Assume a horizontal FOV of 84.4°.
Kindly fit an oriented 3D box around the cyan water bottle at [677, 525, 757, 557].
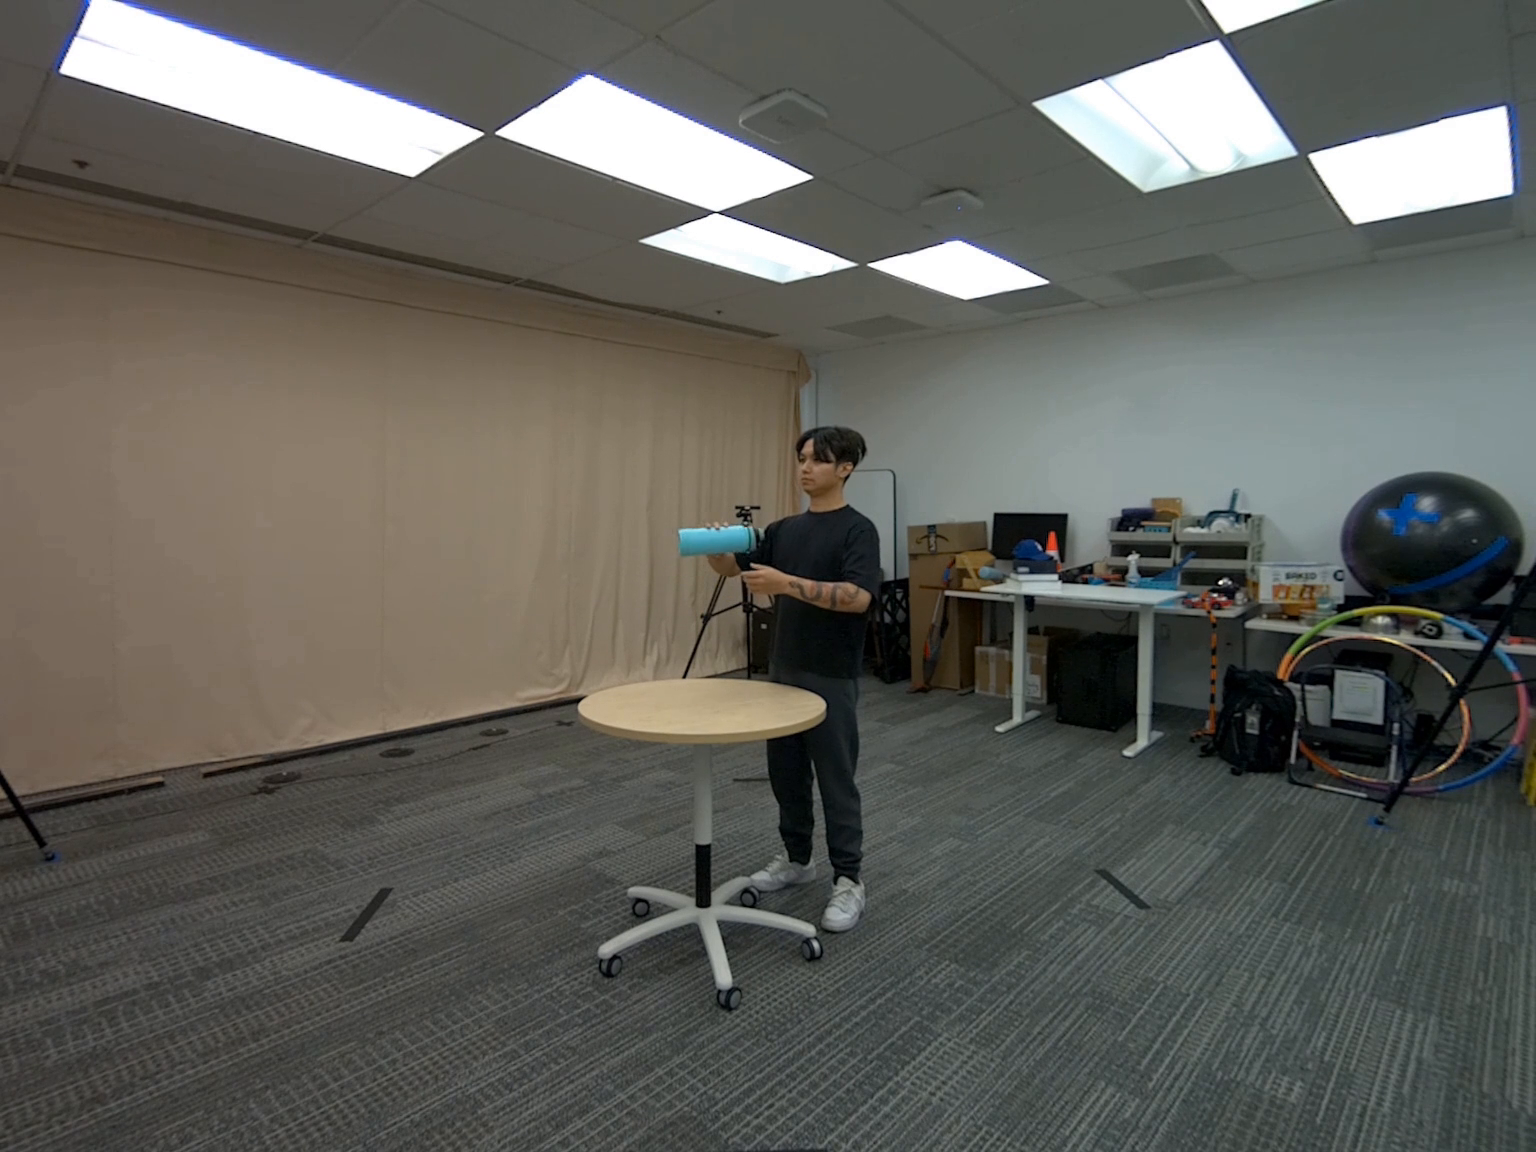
[{"bbox_3d":[-0.151,-0.109,2.802,0.283,0.092,0.093,-3,4,-2],"label":"cyan water bottle"}]
